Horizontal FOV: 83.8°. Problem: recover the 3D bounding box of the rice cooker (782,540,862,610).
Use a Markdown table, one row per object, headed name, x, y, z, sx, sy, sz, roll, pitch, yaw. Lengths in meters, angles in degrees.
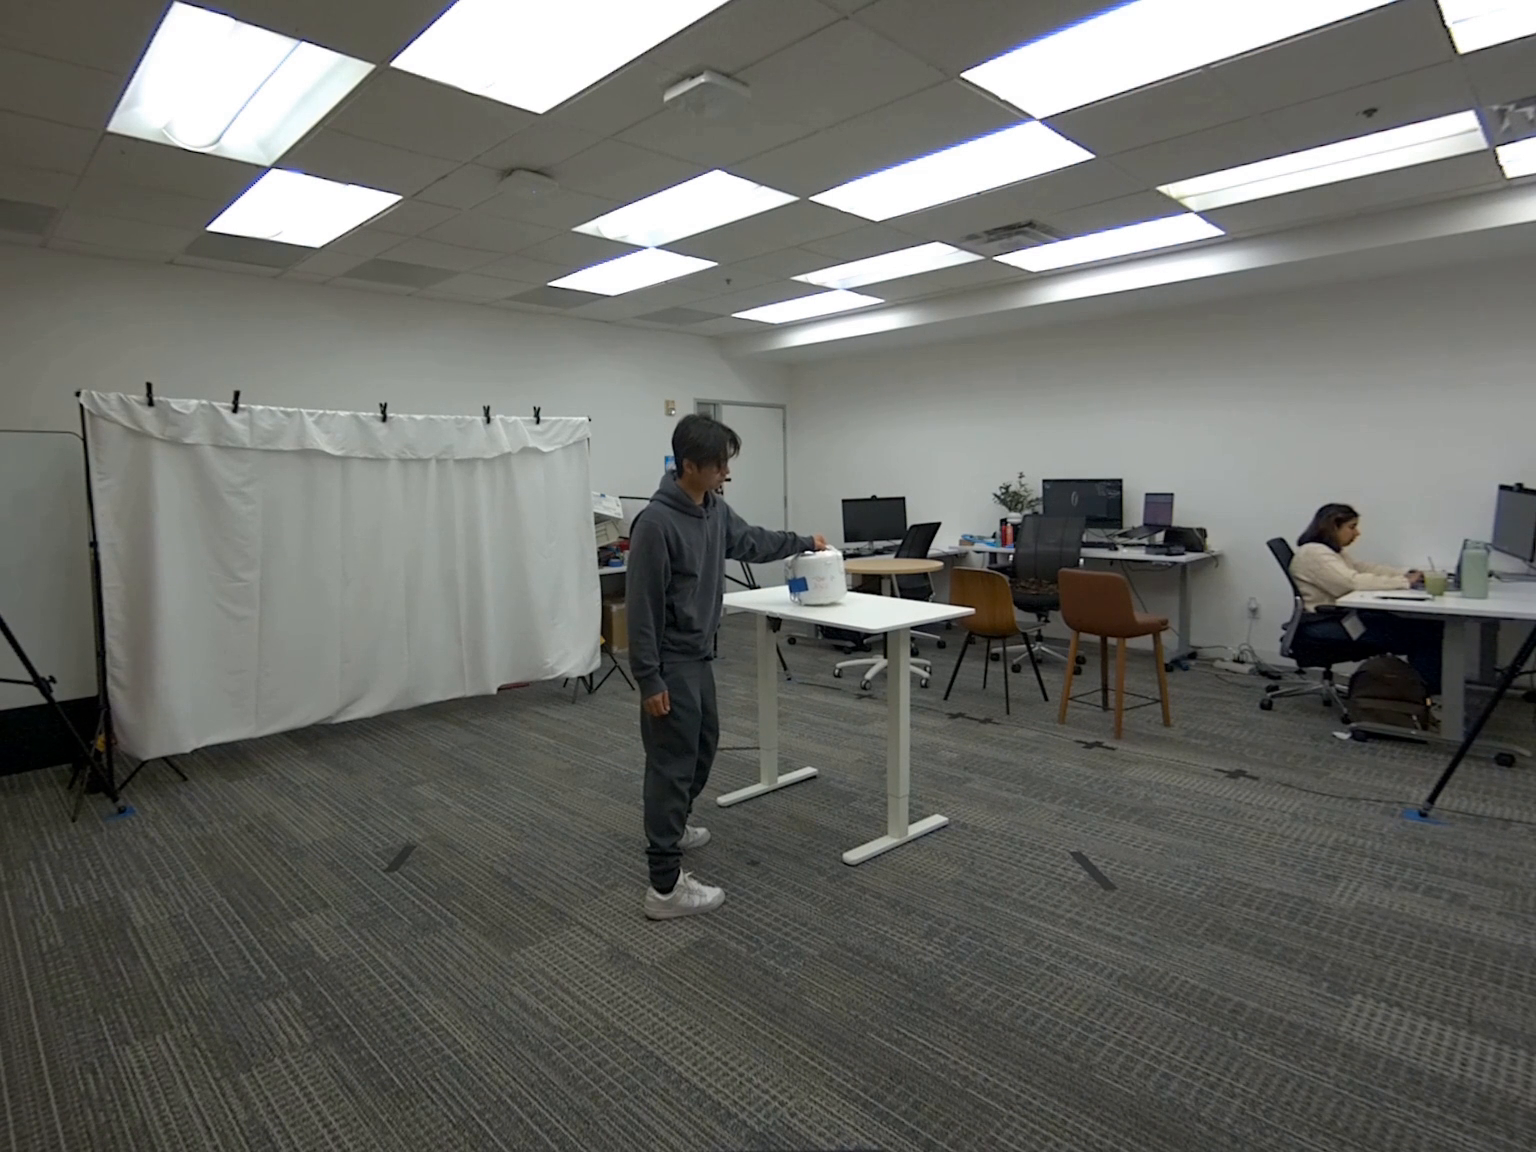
| name | x | y | z | sx | sy | sz | roll | pitch | yaw |
| --- | --- | --- | --- | --- | --- | --- | --- | --- | --- |
| rice cooker | 0.216 | -0.008 | 3.462 | 0.226 | 0.232 | 0.213 | -5 | 6 | 31 |
